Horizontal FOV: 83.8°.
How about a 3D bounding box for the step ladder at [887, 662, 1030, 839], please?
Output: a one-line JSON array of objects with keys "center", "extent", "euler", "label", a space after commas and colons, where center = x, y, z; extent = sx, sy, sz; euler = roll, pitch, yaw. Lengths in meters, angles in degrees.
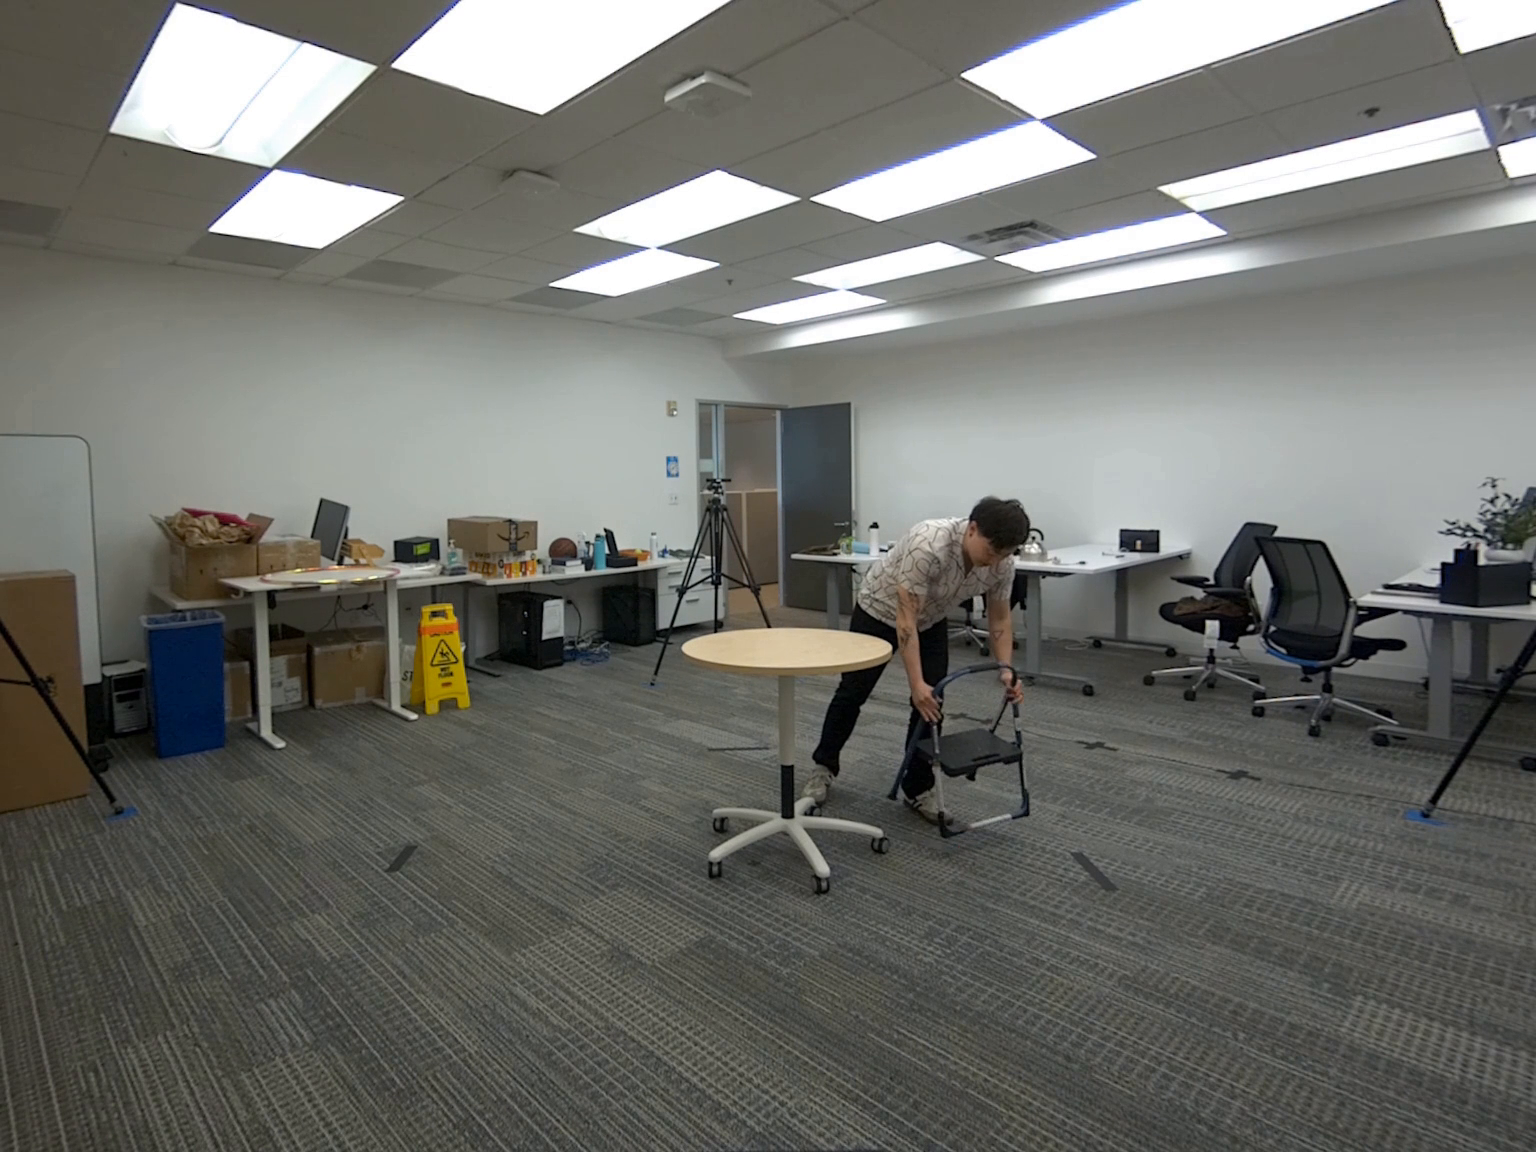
[{"center": [0.753, 0.604, 3.254], "extent": [0.421, 0.600, 0.360], "euler": [-3, 13, -26], "label": "step ladder"}]
